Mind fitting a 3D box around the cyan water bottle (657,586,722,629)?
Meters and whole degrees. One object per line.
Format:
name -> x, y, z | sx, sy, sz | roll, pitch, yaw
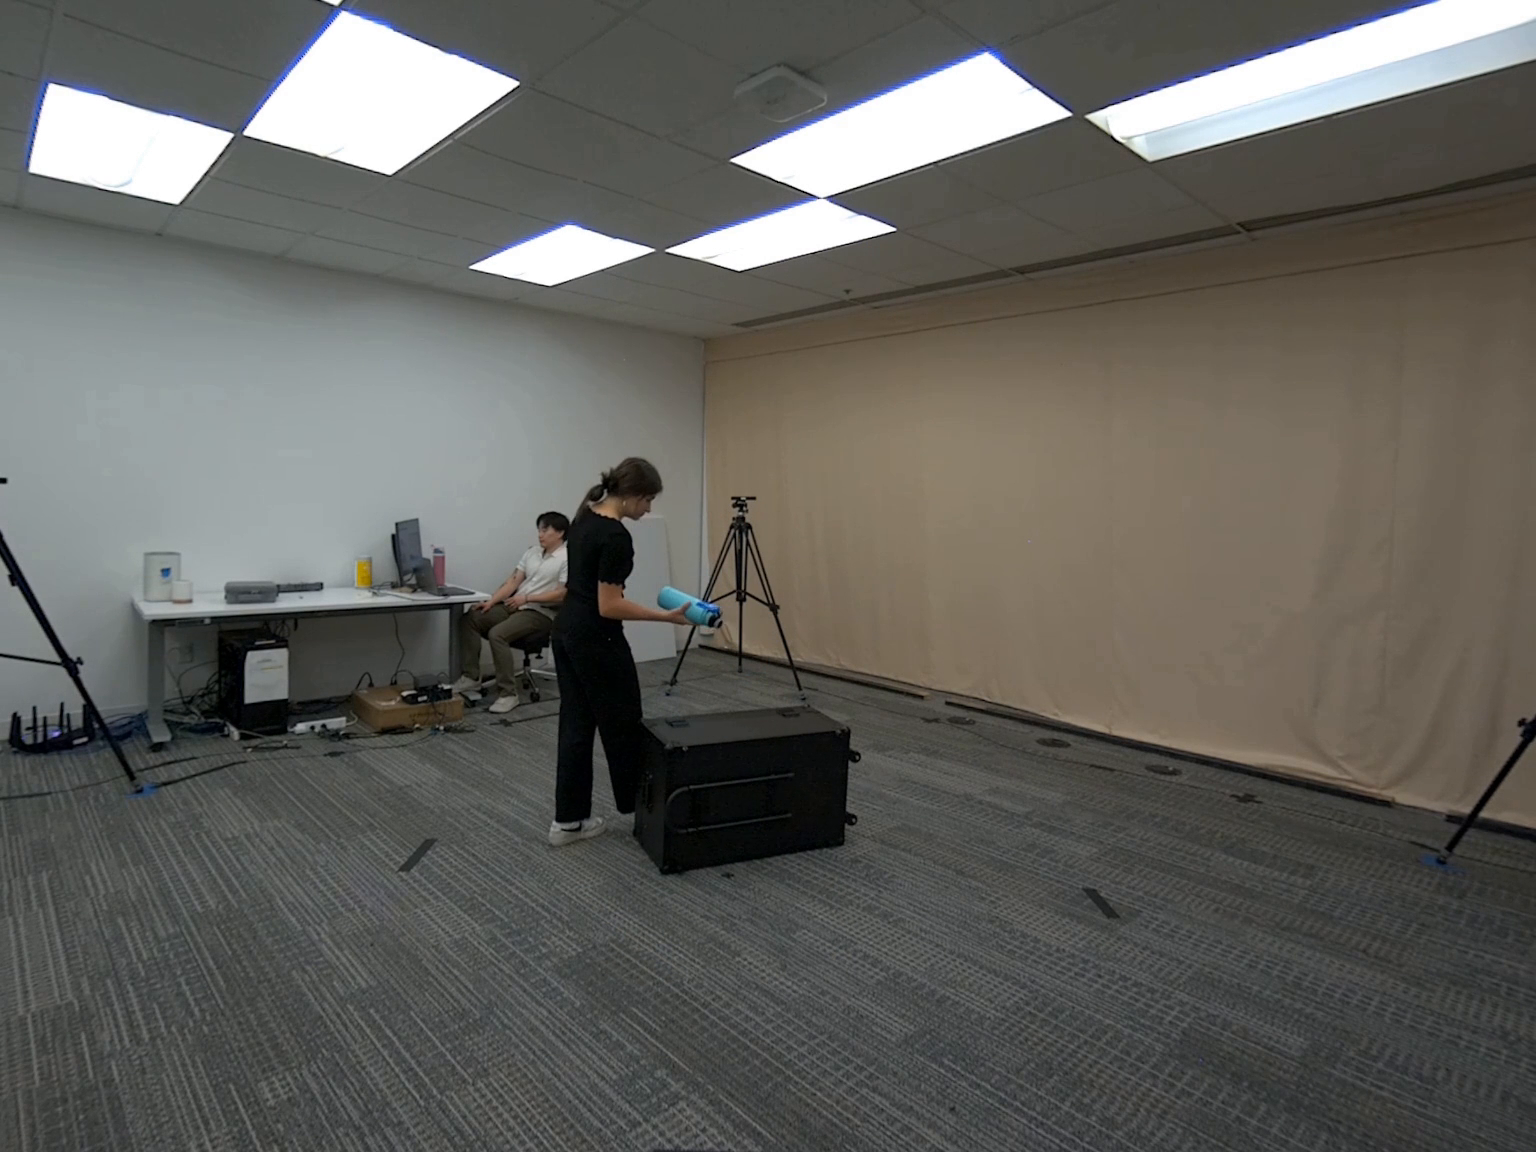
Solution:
cyan water bottle -> -0.307, 0.127, 3.318 | 0.291, 0.092, 0.090 | 20, 13, 30
